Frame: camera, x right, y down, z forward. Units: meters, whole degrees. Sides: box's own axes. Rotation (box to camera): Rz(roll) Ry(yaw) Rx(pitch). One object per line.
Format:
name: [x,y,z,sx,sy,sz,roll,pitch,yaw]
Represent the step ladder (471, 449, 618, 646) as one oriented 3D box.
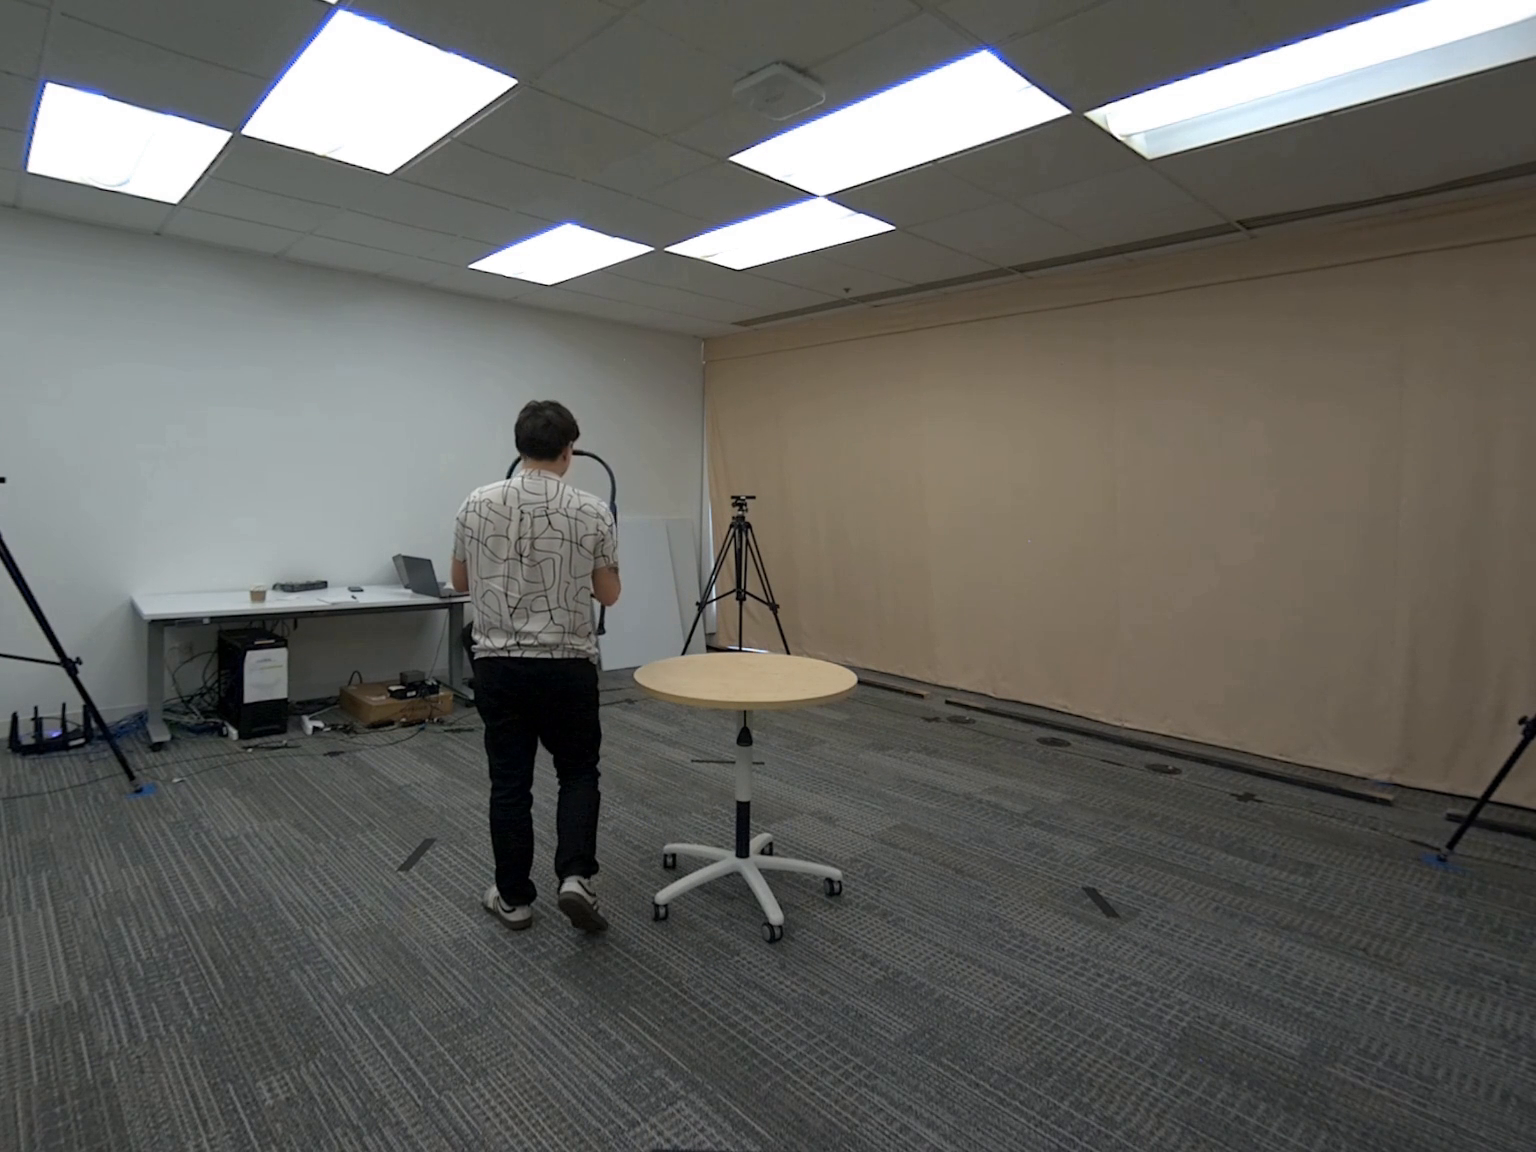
step ladder: [-0.774,-0.146,3.058,0.431,0.599,0.353,5,17,-1]
